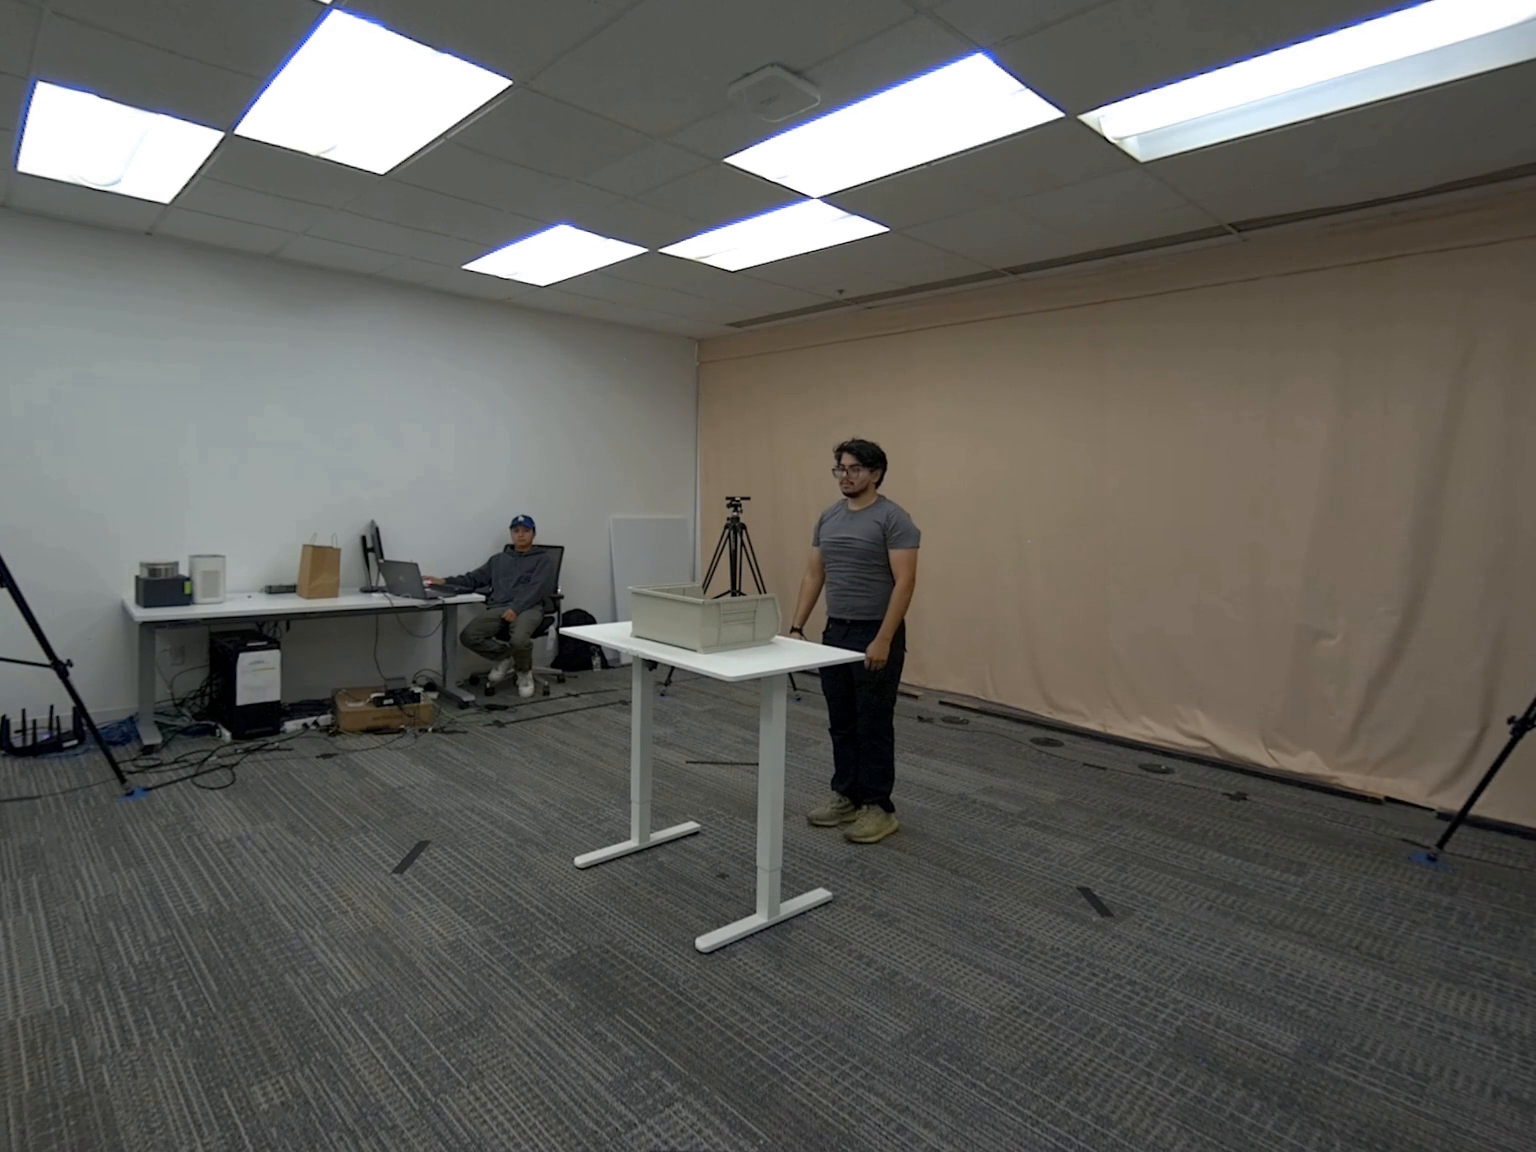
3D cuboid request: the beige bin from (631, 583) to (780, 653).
[{"bbox_3d":[-0.233,0.142,3.006,0.369,0.188,0.433,-5,9,-43],"label":"beige bin"}]
